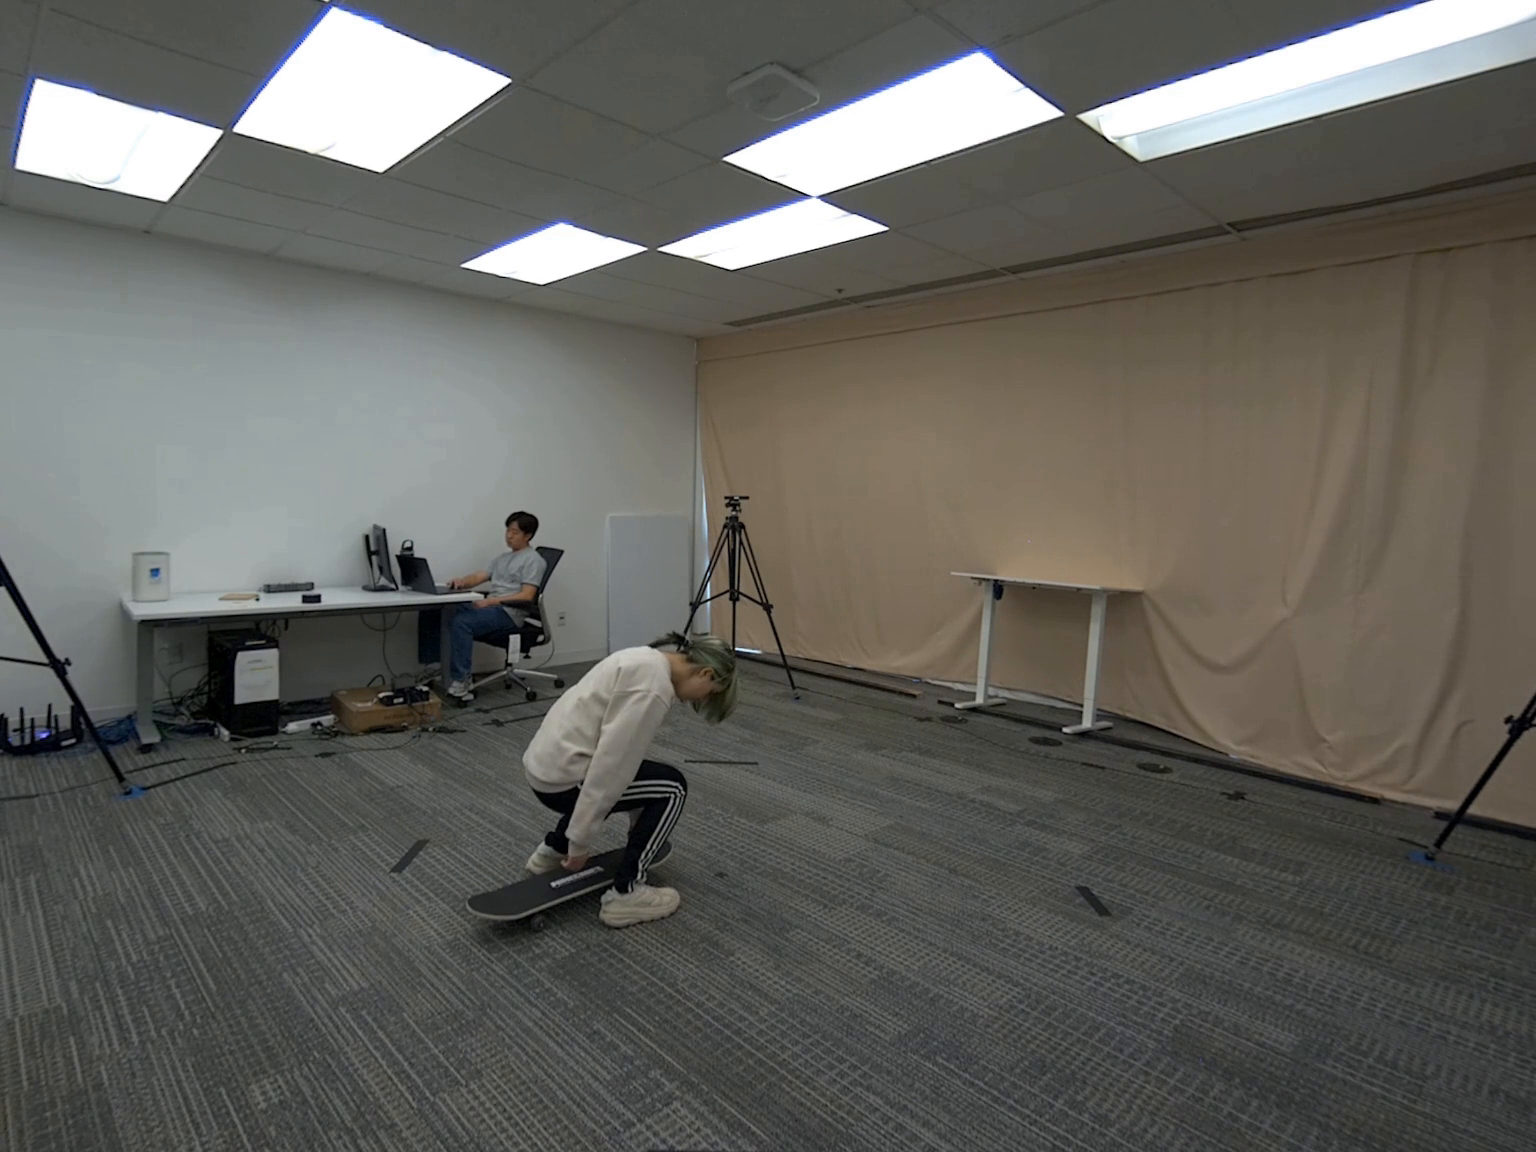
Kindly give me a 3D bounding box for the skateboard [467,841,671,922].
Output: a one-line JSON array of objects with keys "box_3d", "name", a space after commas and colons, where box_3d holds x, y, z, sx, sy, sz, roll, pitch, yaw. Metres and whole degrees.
[{"box_3d": [-0.648, 1.053, 2.871, 0.198, 0.110, 0.768, 7, 8, 44], "name": "skateboard"}]
